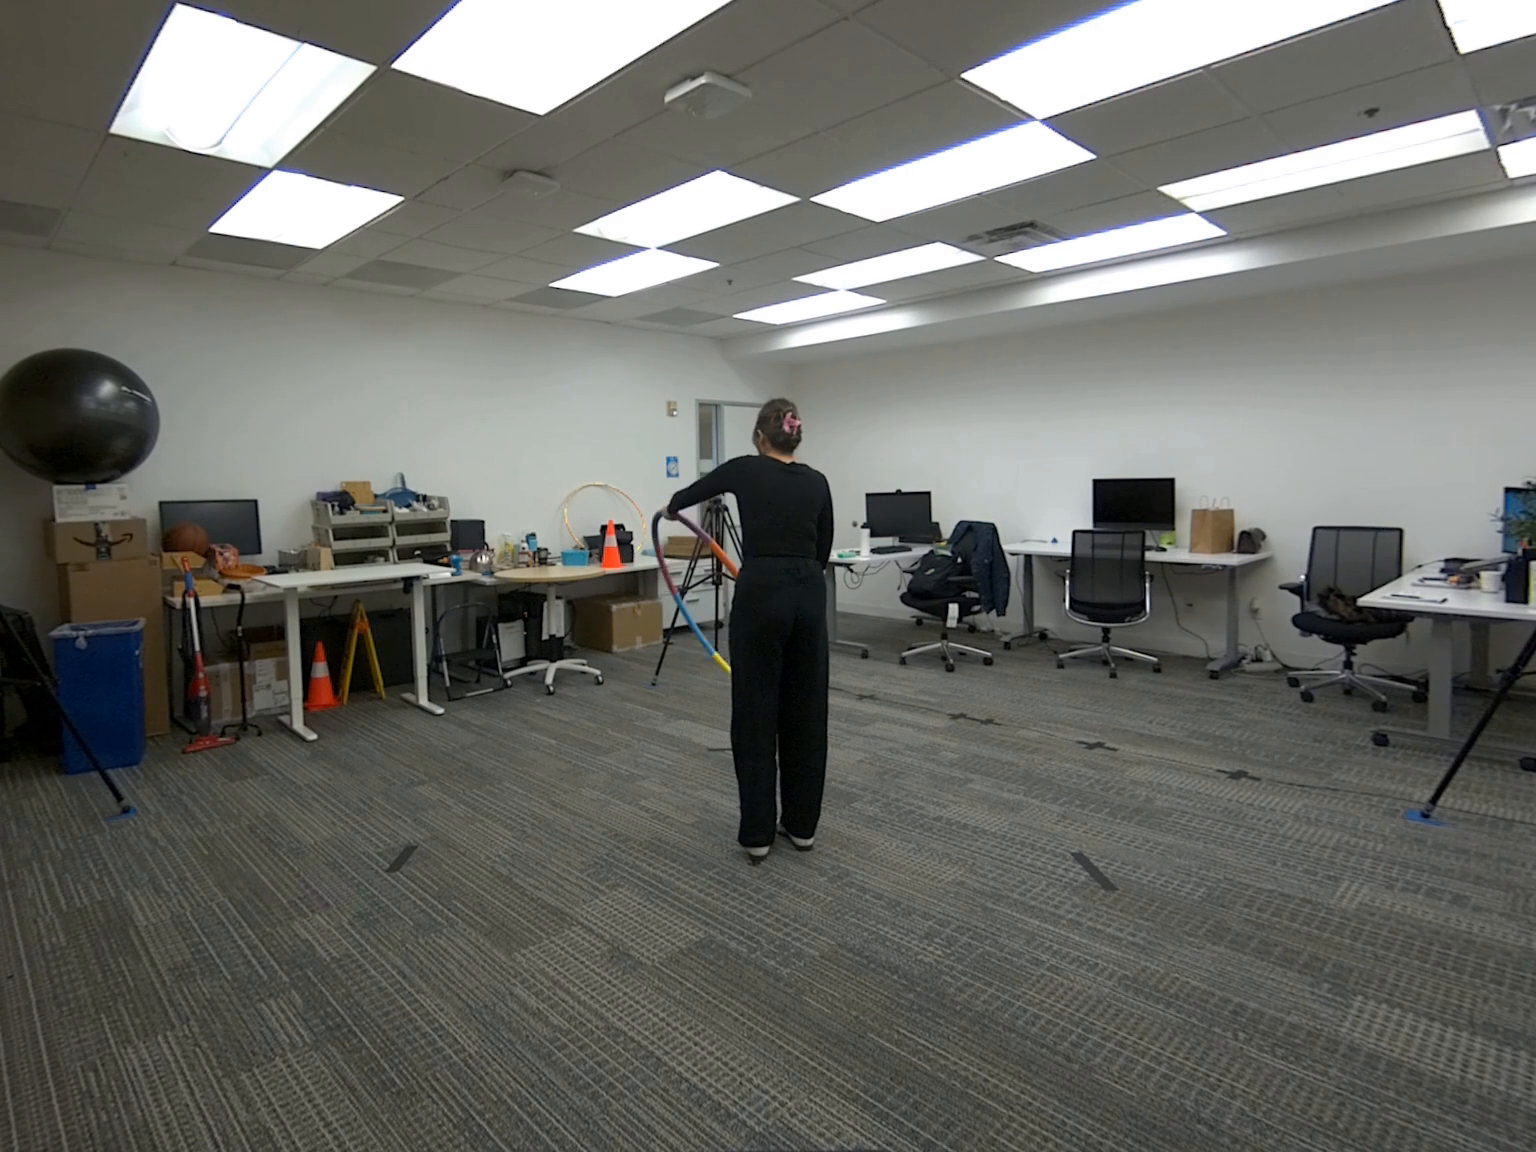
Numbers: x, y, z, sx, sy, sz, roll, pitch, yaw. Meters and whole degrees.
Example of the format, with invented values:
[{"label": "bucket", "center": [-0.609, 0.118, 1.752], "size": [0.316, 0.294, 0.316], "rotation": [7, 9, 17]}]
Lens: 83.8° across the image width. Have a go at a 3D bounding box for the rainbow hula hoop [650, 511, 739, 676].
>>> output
[{"label": "rainbow hula hoop", "center": [-0.240, 0.135, 3.877], "size": [0.051, 0.967, 1.011], "rotation": [-31, 17, -22]}]
